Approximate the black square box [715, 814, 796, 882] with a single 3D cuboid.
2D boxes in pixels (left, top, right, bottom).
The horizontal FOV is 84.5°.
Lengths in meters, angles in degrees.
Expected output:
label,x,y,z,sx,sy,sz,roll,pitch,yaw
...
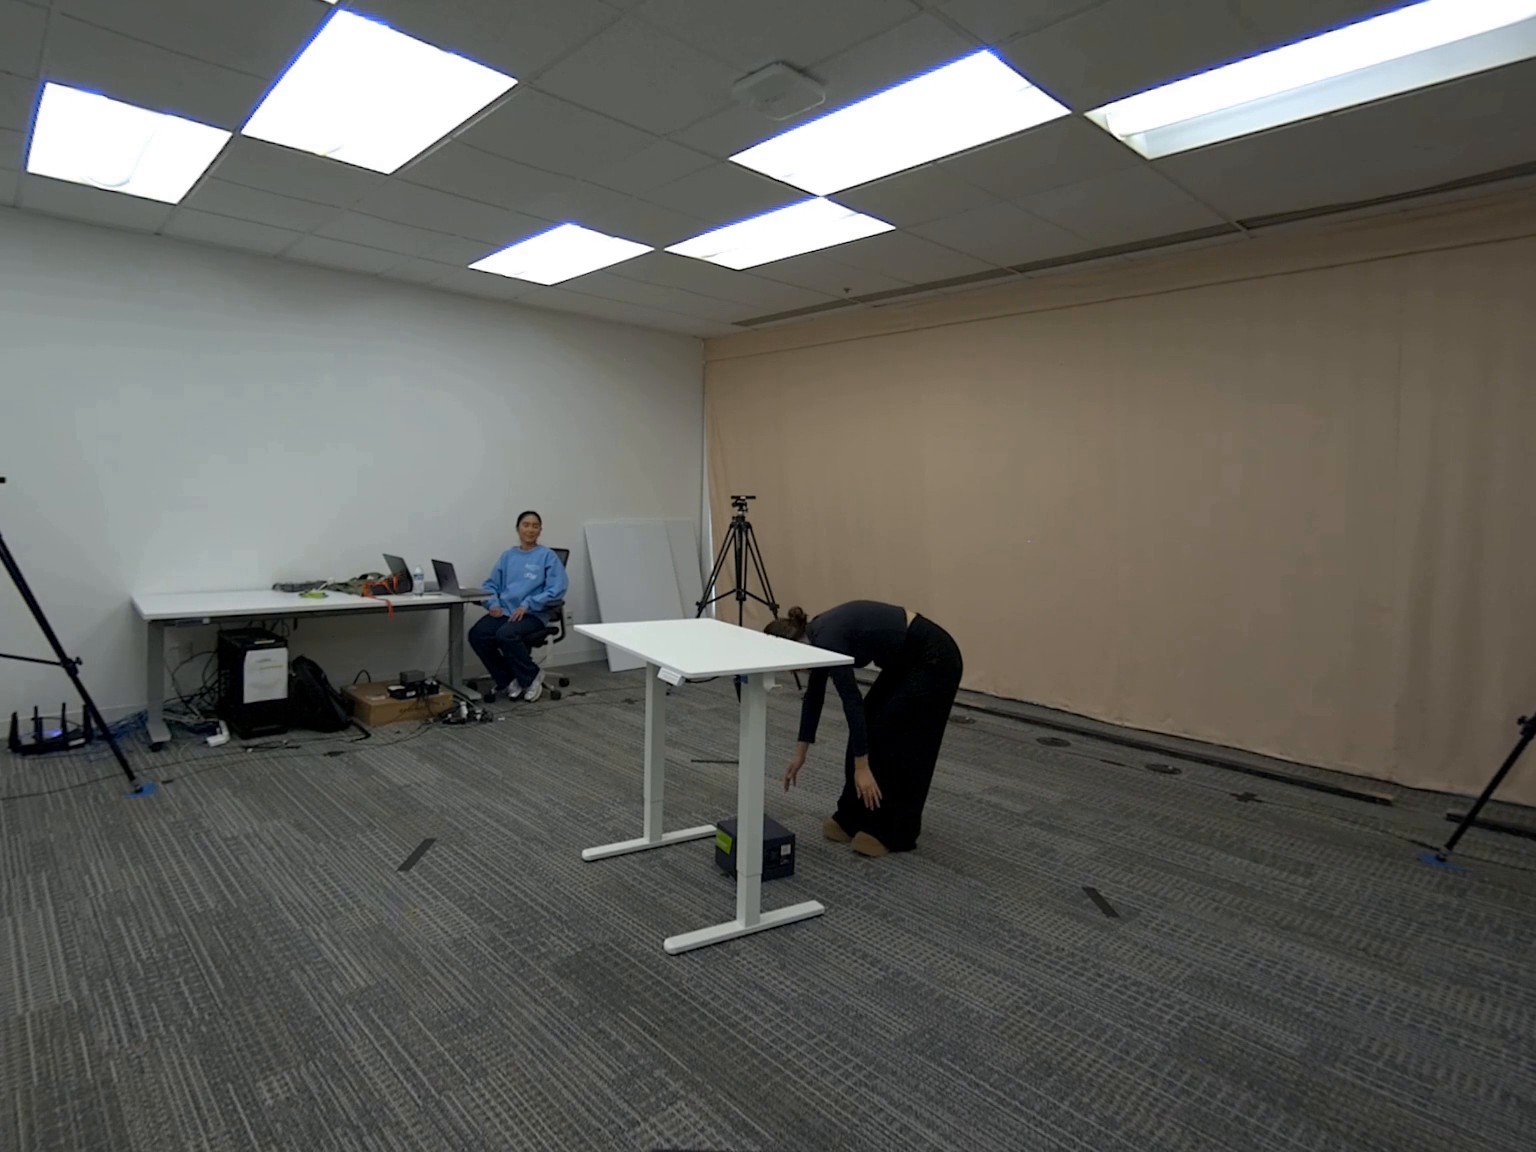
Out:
label,x,y,z,sx,sy,sz,roll,pitch,yaw
black square box,-0.056,1.016,3.148,0.213,0.155,0.233,-1,5,-29
